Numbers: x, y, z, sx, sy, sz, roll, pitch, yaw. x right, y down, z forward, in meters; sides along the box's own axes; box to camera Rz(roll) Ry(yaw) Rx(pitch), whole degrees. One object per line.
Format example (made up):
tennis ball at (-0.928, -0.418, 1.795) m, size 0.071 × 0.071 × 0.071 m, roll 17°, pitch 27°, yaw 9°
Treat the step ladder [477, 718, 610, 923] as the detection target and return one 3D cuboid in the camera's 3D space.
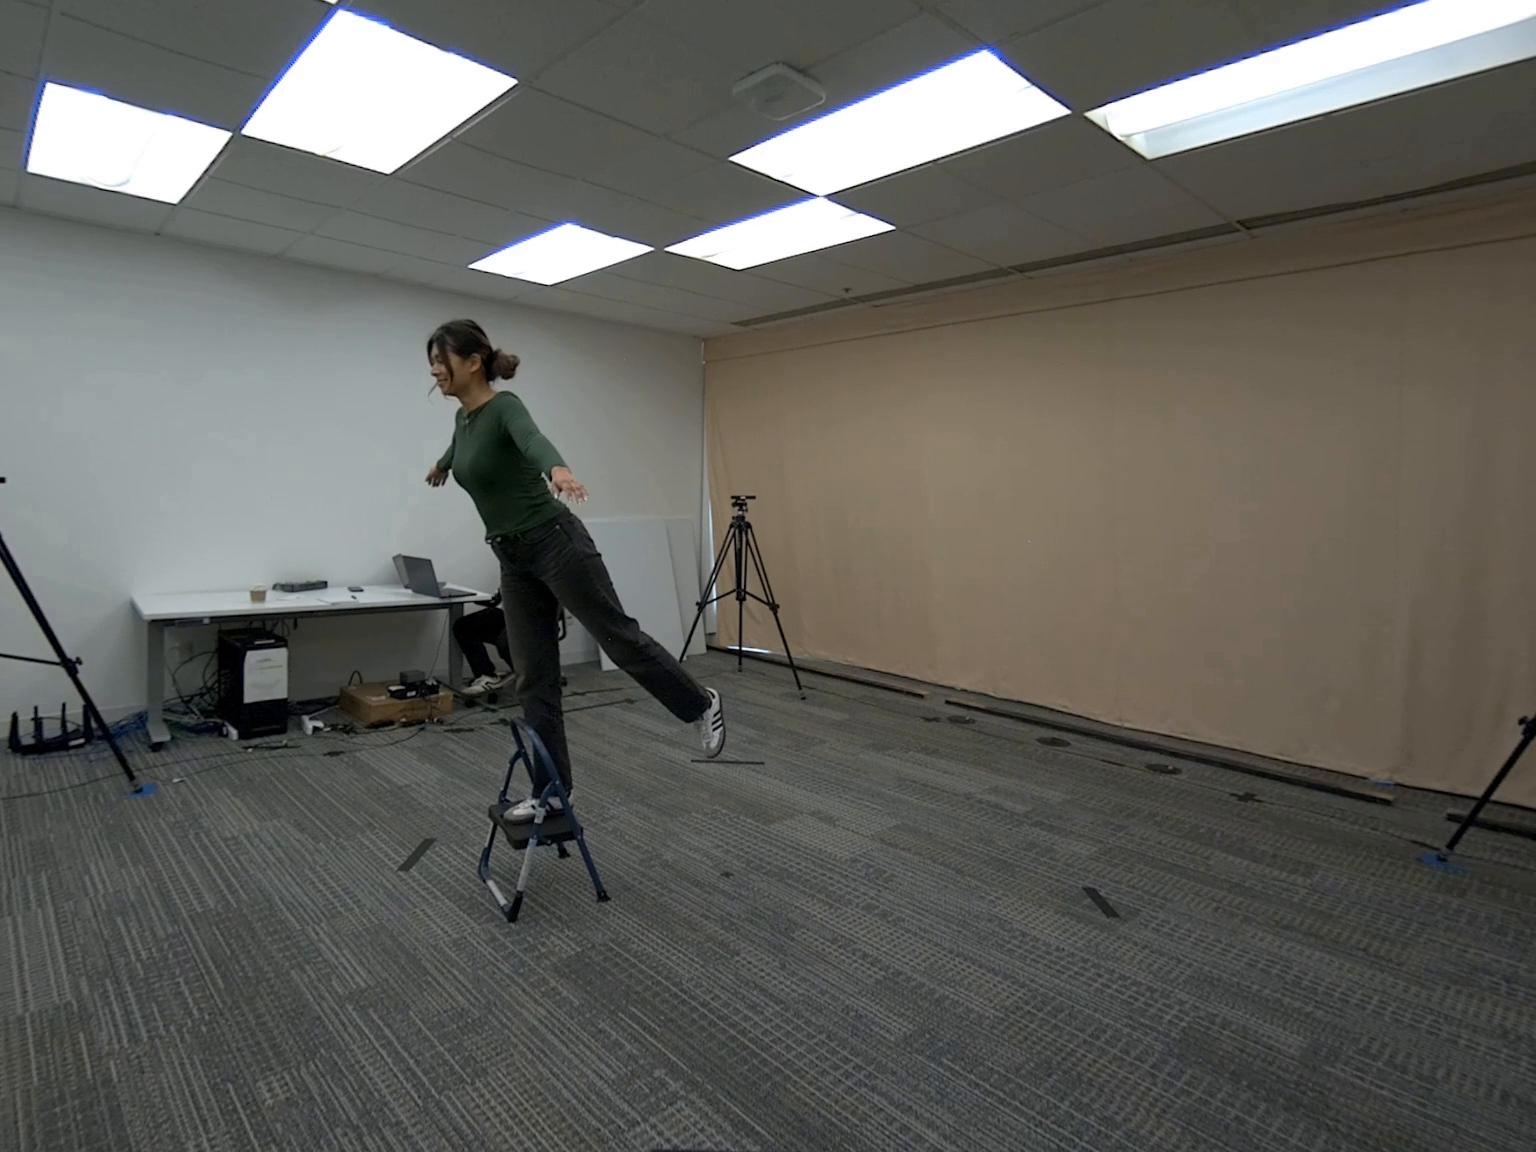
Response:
step ladder at (-0.802, 0.800, 2.960) m, size 0.342 × 0.604 × 0.441 m, roll -1°, pitch 4°, yaw -33°
